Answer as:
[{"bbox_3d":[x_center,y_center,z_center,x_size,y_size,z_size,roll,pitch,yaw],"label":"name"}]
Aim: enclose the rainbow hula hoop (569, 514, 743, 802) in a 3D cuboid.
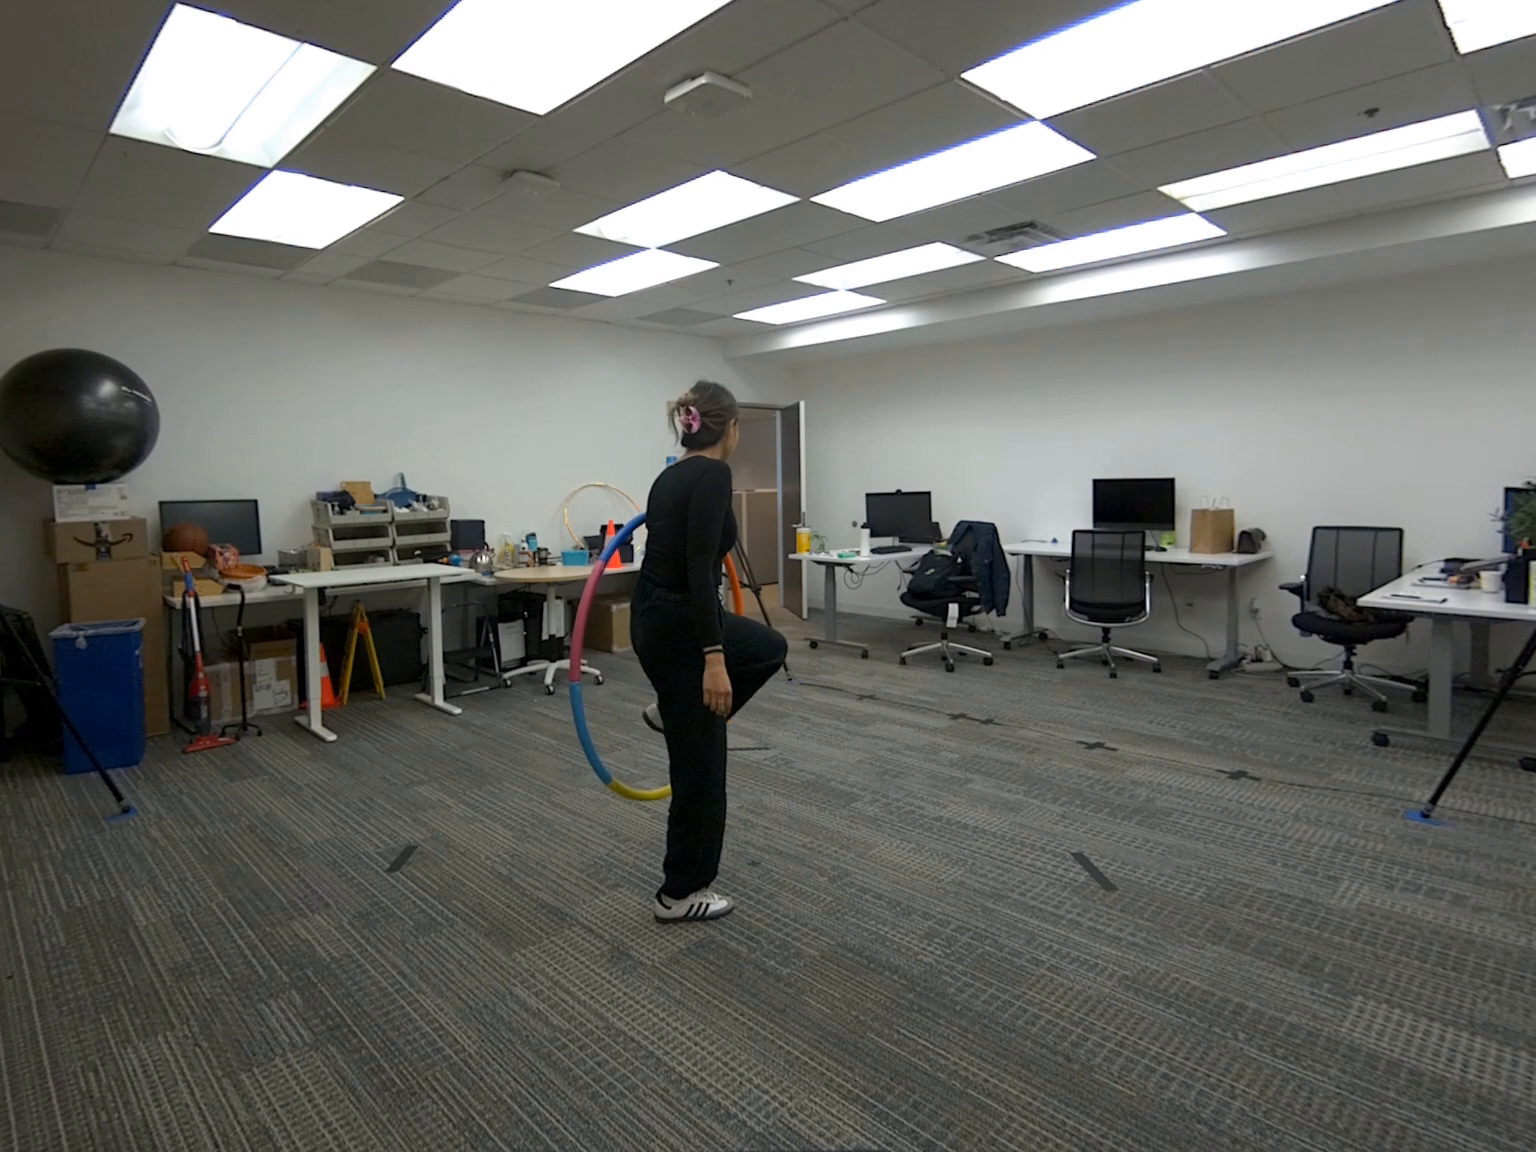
[{"bbox_3d":[-0.338,0.252,2.916,0.036,0.975,0.957,1,5,29],"label":"rainbow hula hoop"}]
